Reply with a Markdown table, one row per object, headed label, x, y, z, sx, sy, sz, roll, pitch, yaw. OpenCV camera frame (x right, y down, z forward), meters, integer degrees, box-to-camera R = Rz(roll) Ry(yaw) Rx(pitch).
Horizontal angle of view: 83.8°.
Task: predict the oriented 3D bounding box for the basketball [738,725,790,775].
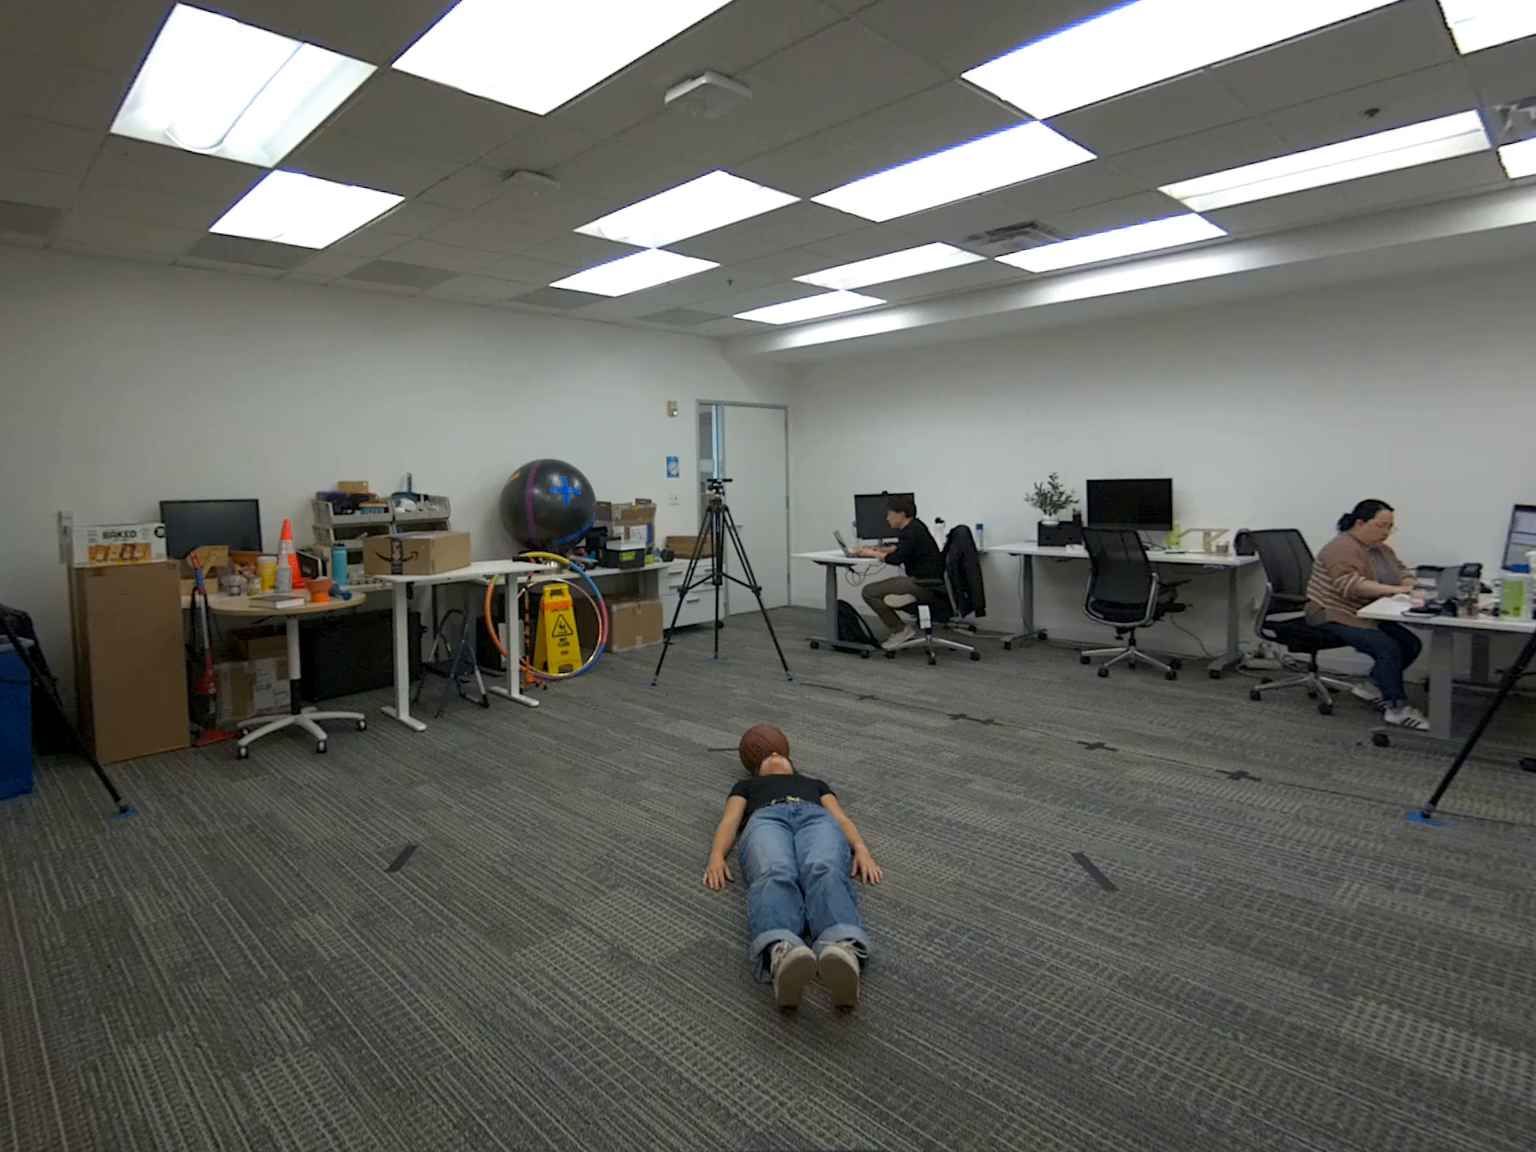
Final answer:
| label | x | y | z | sx | sy | sz | roll | pitch | yaw |
| --- | --- | --- | --- | --- | --- | --- | --- | --- | --- |
| basketball | -0.016 | 0.818 | 4.032 | 0.236 | 0.235 | 0.237 | -1 | 5 | -2 |
